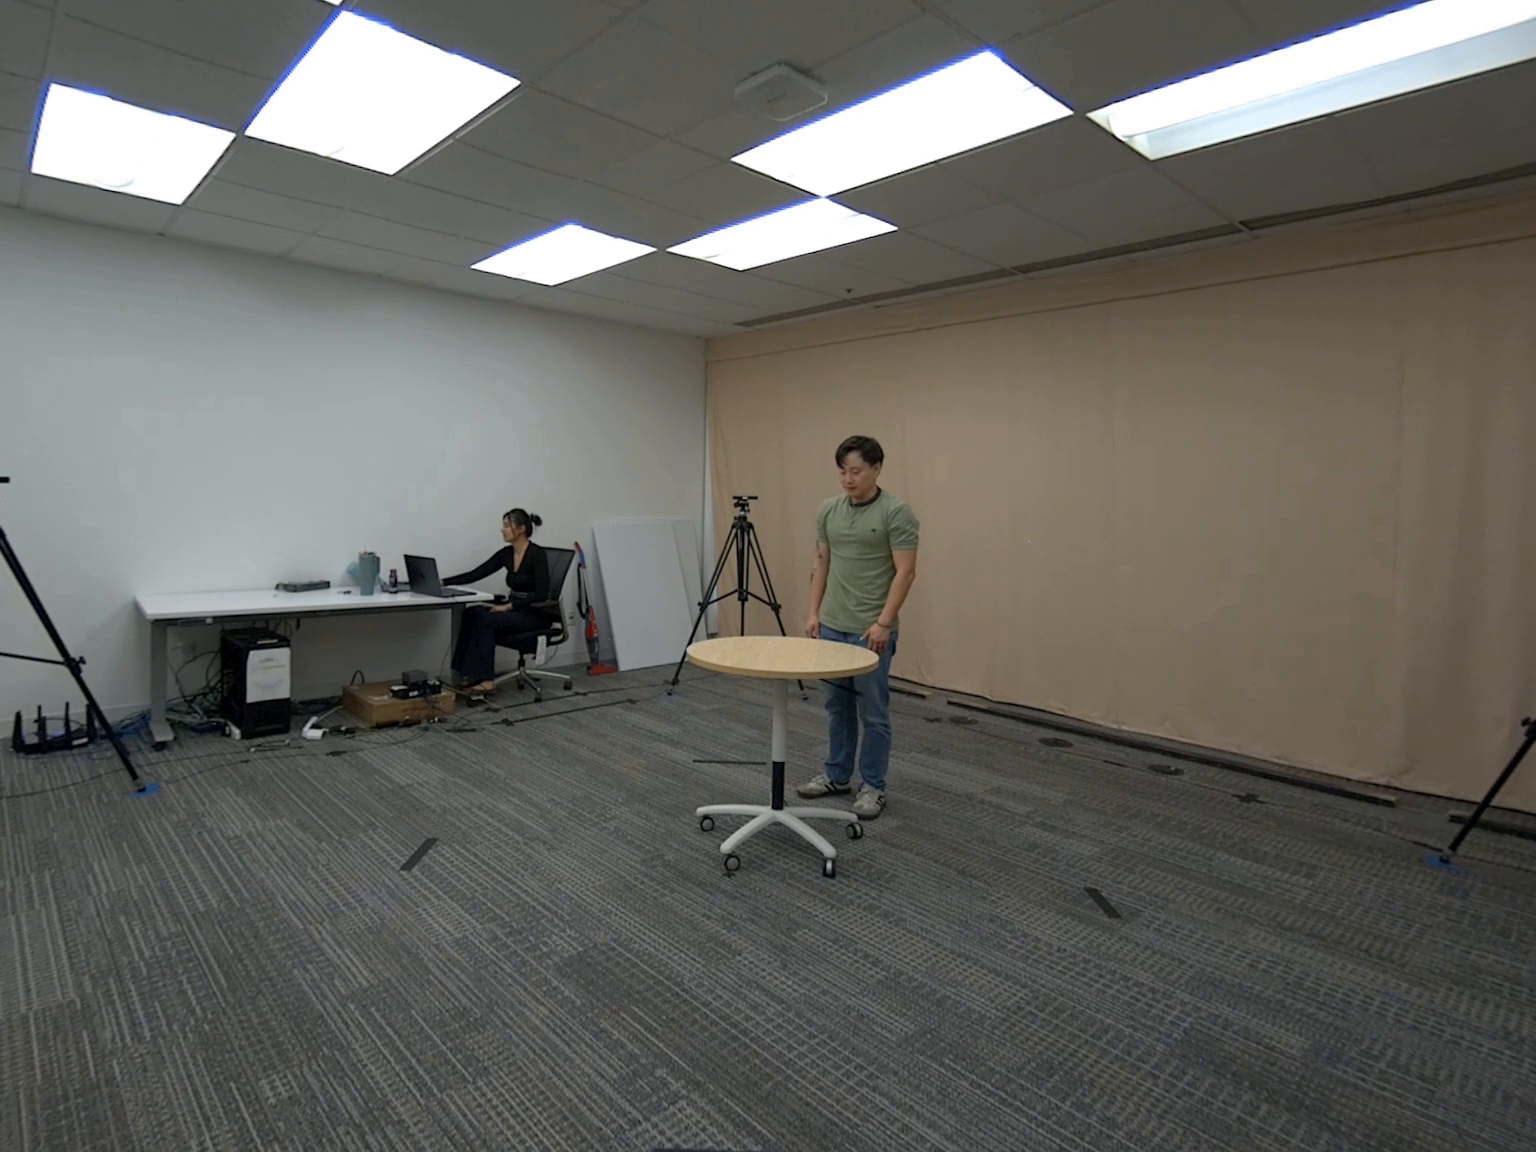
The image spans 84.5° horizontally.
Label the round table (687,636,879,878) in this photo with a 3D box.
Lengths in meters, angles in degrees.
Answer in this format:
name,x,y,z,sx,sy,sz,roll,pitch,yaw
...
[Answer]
name,x,y,z,sx,sy,sz,roll,pitch,yaw
round table,0.038,0.694,3.387,0.763,0.792,0.766,2,4,-1
